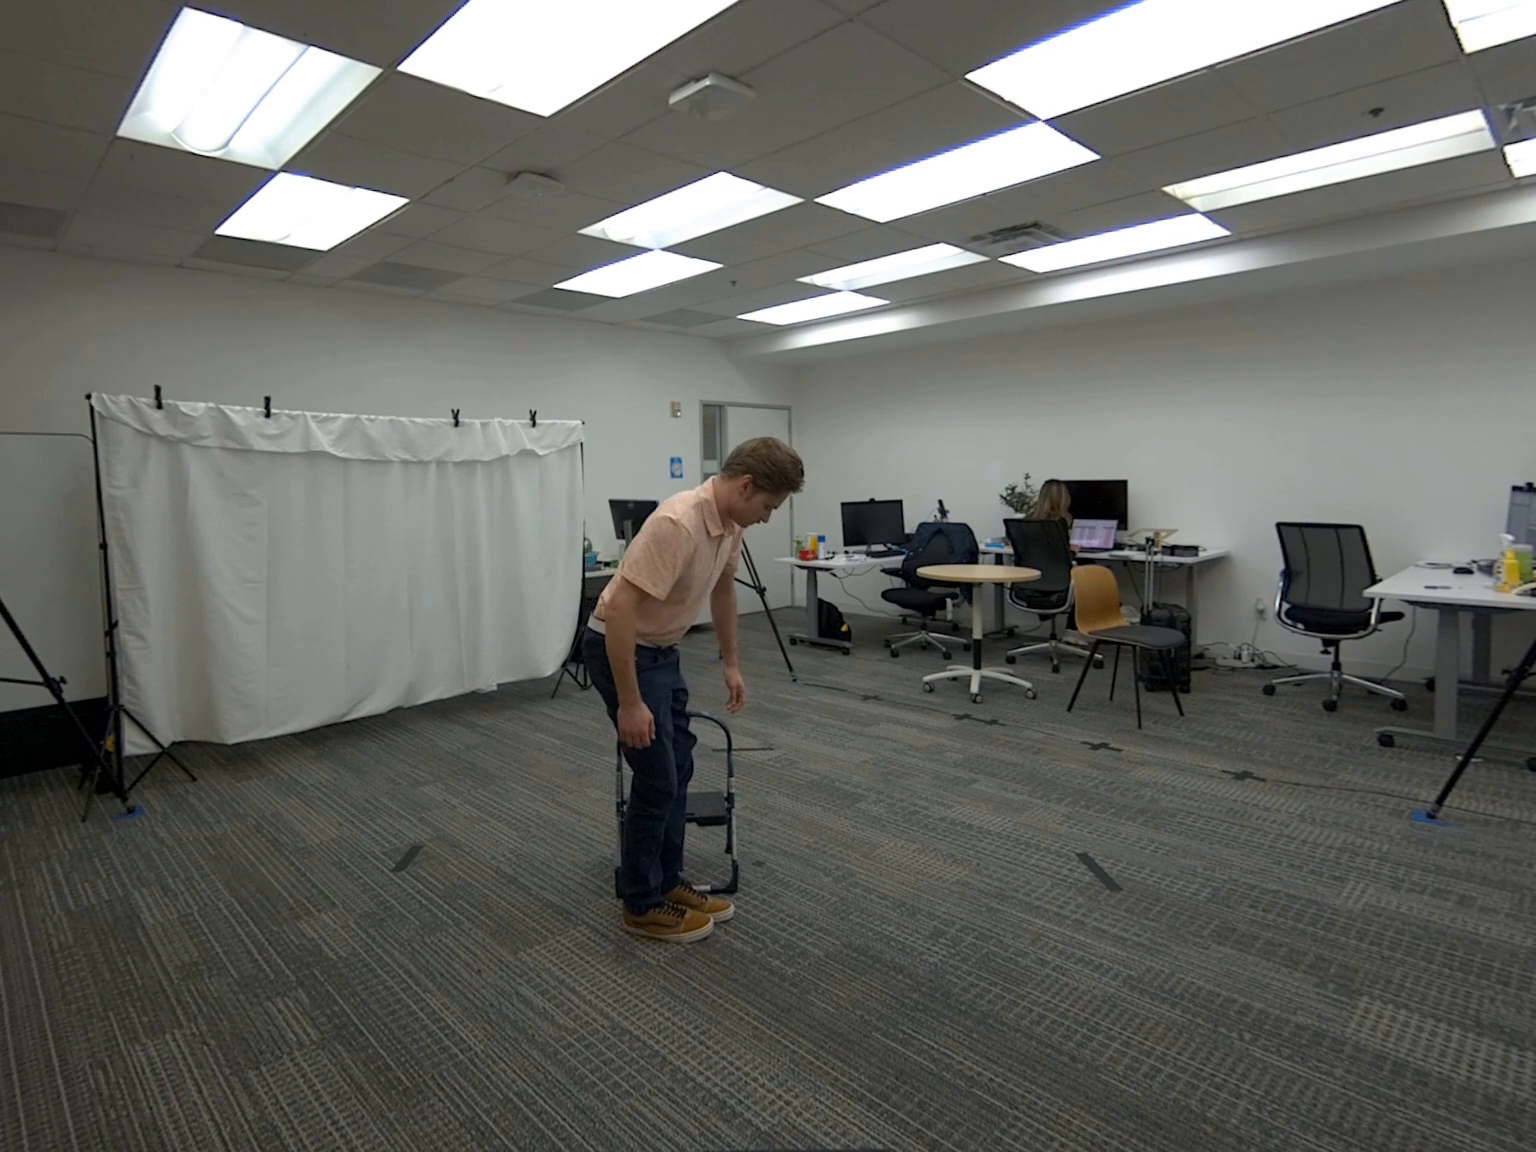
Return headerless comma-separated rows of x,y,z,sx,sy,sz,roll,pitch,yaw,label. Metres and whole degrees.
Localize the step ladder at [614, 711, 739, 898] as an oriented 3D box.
-0.328,0.764,3.030,0.429,0.604,0.352,-2,4,-5,step ladder
